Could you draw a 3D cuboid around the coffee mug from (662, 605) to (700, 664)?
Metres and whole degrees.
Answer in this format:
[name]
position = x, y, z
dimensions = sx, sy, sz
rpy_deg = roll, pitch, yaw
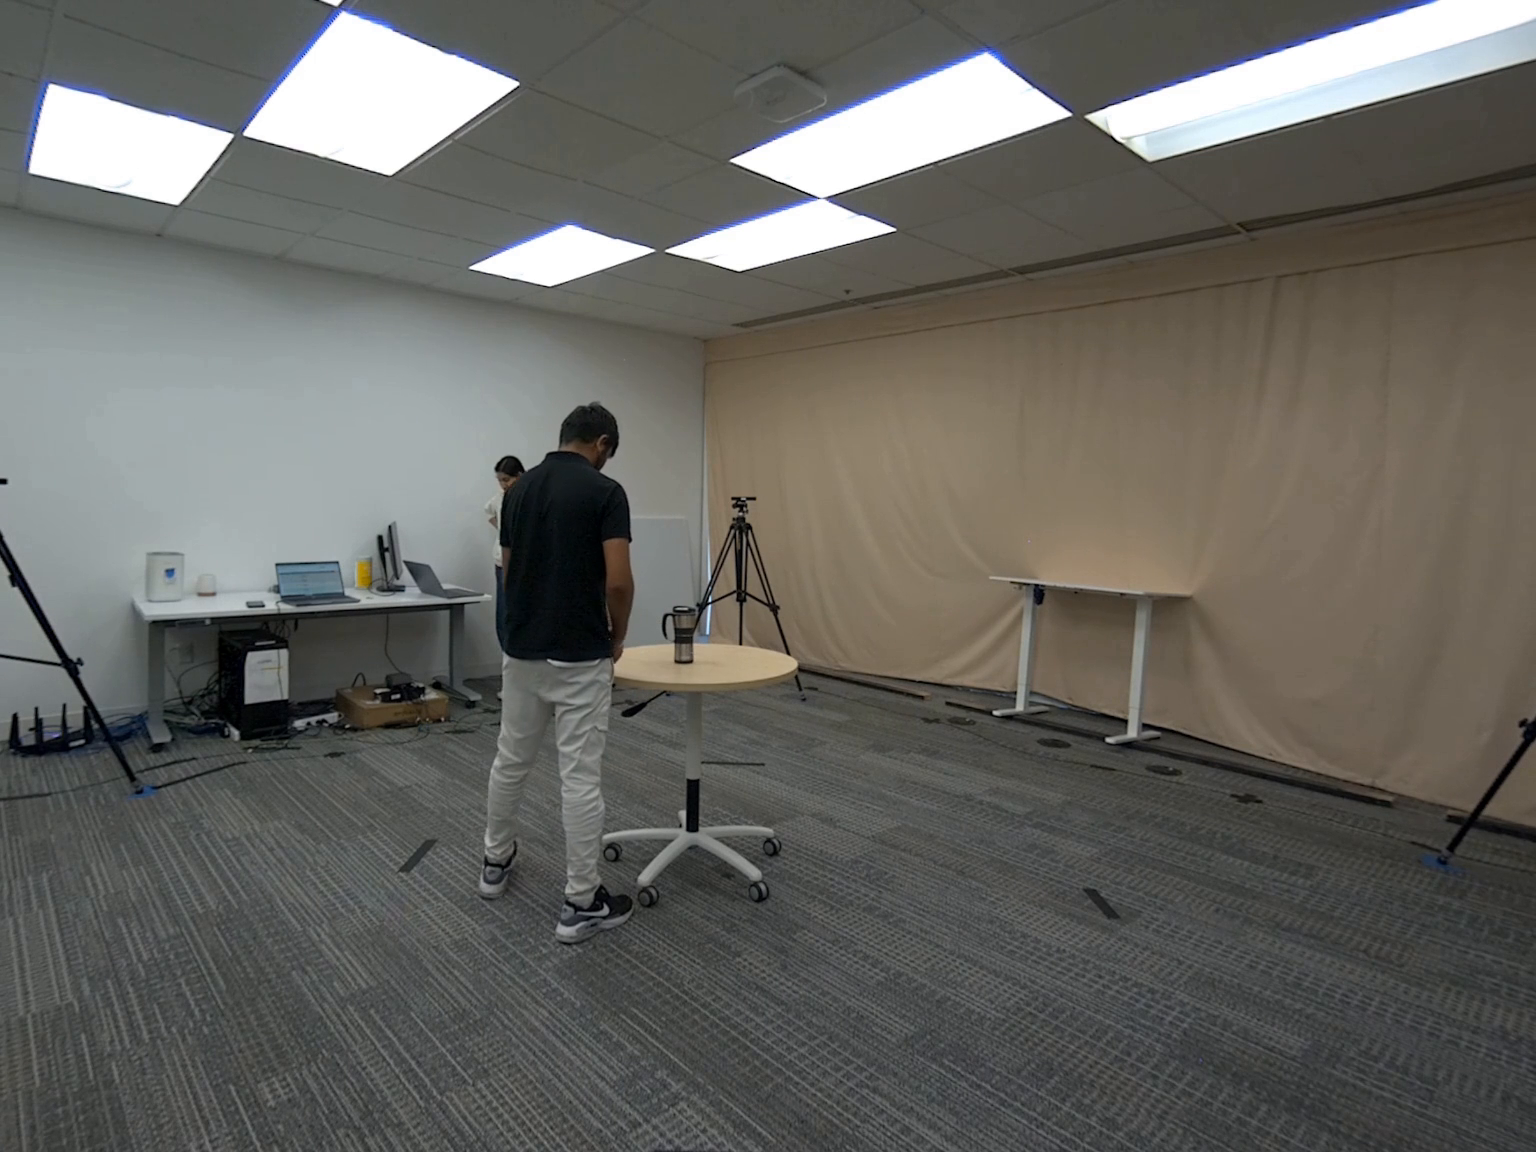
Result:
[coffee mug]
position = -0.340, 0.220, 3.117
dimensions = 0.124, 0.202, 0.087
rpy_deg = 6, 8, 19
